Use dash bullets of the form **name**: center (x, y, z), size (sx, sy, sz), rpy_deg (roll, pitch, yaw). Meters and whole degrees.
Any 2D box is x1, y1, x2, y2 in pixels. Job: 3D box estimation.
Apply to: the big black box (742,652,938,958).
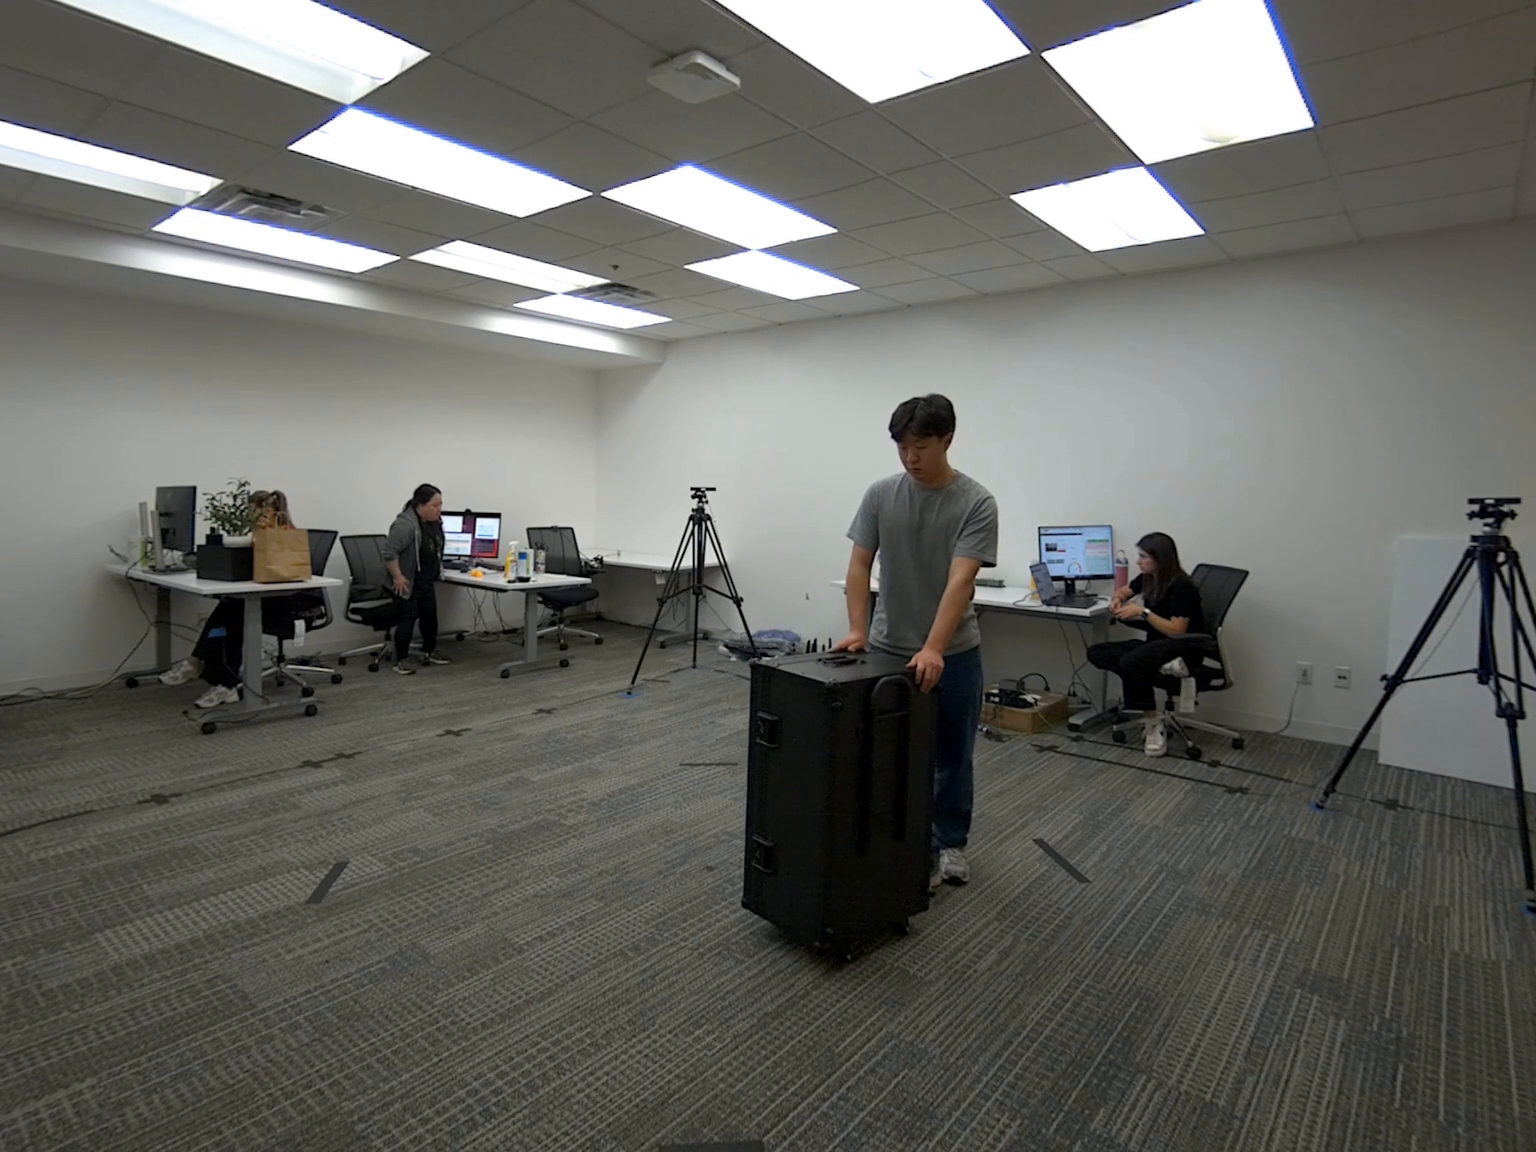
- **big black box**: center (0.231, 0.697, 2.663), size (0.505, 0.858, 0.410), rpy_deg (-1, 5, -40)
